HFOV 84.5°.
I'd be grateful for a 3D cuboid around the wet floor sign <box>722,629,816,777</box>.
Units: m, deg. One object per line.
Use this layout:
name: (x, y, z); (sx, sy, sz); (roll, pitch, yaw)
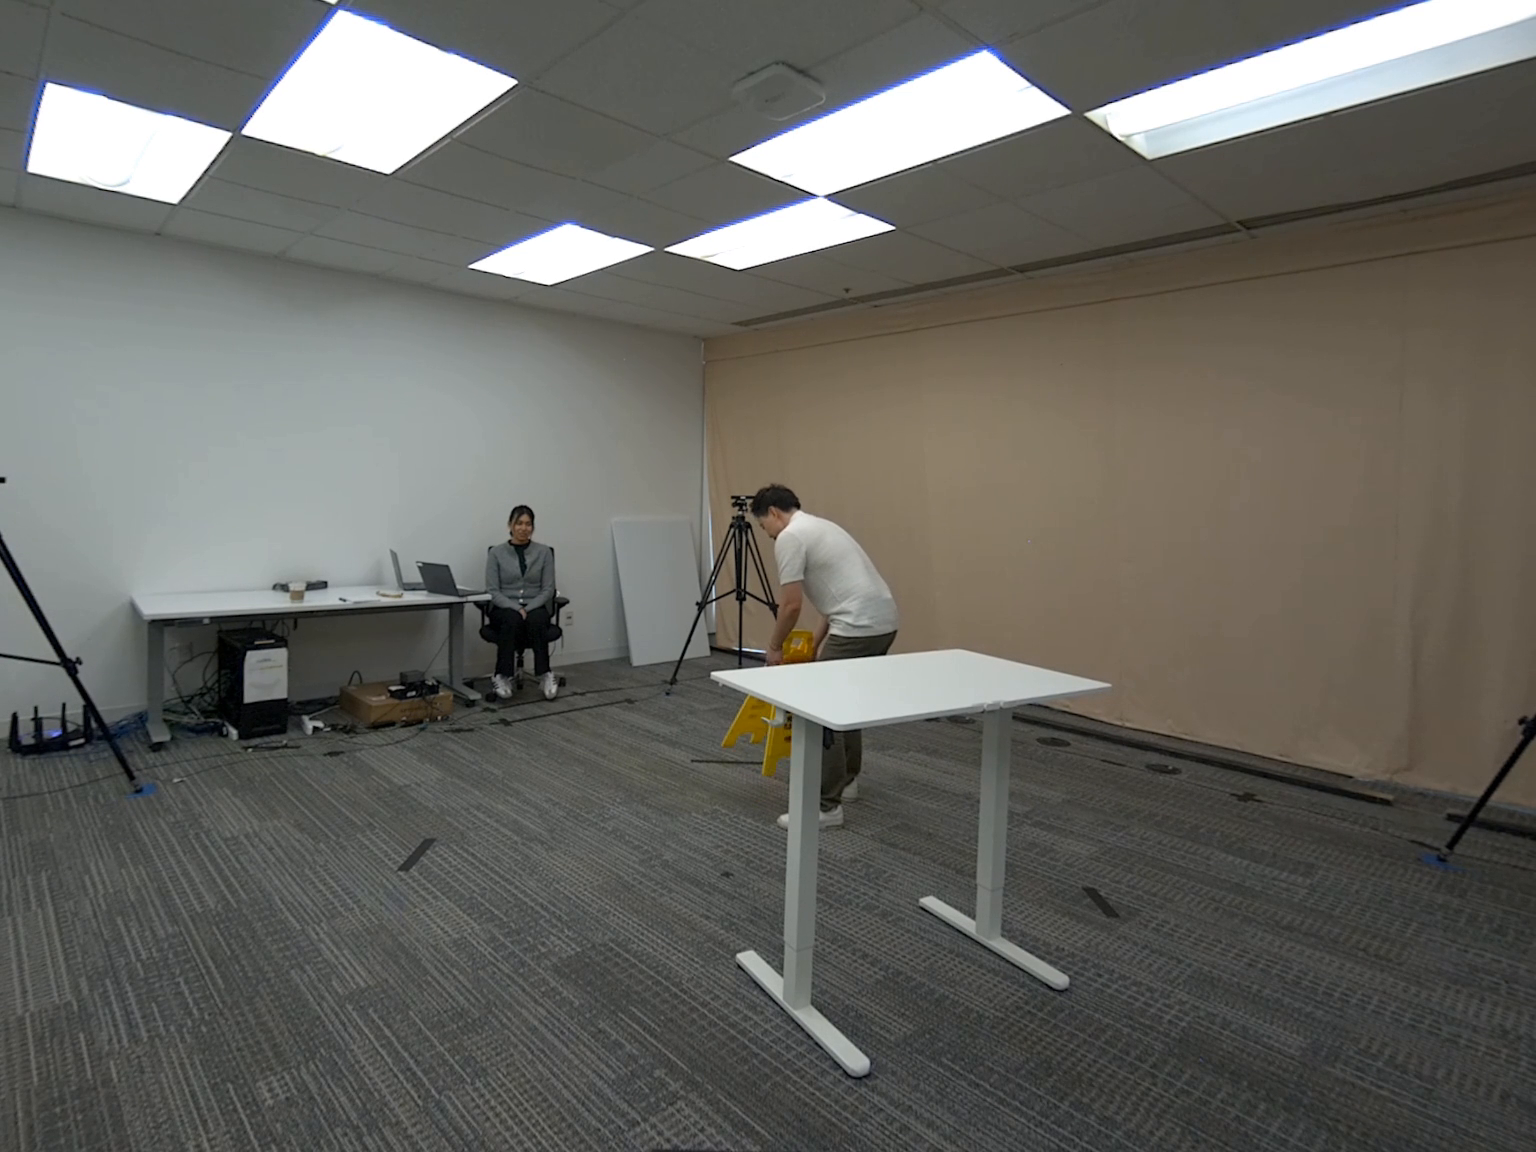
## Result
wet floor sign: (0.045, 0.557, 3.933); (0.298, 0.643, 0.275); (23, 10, 41)
